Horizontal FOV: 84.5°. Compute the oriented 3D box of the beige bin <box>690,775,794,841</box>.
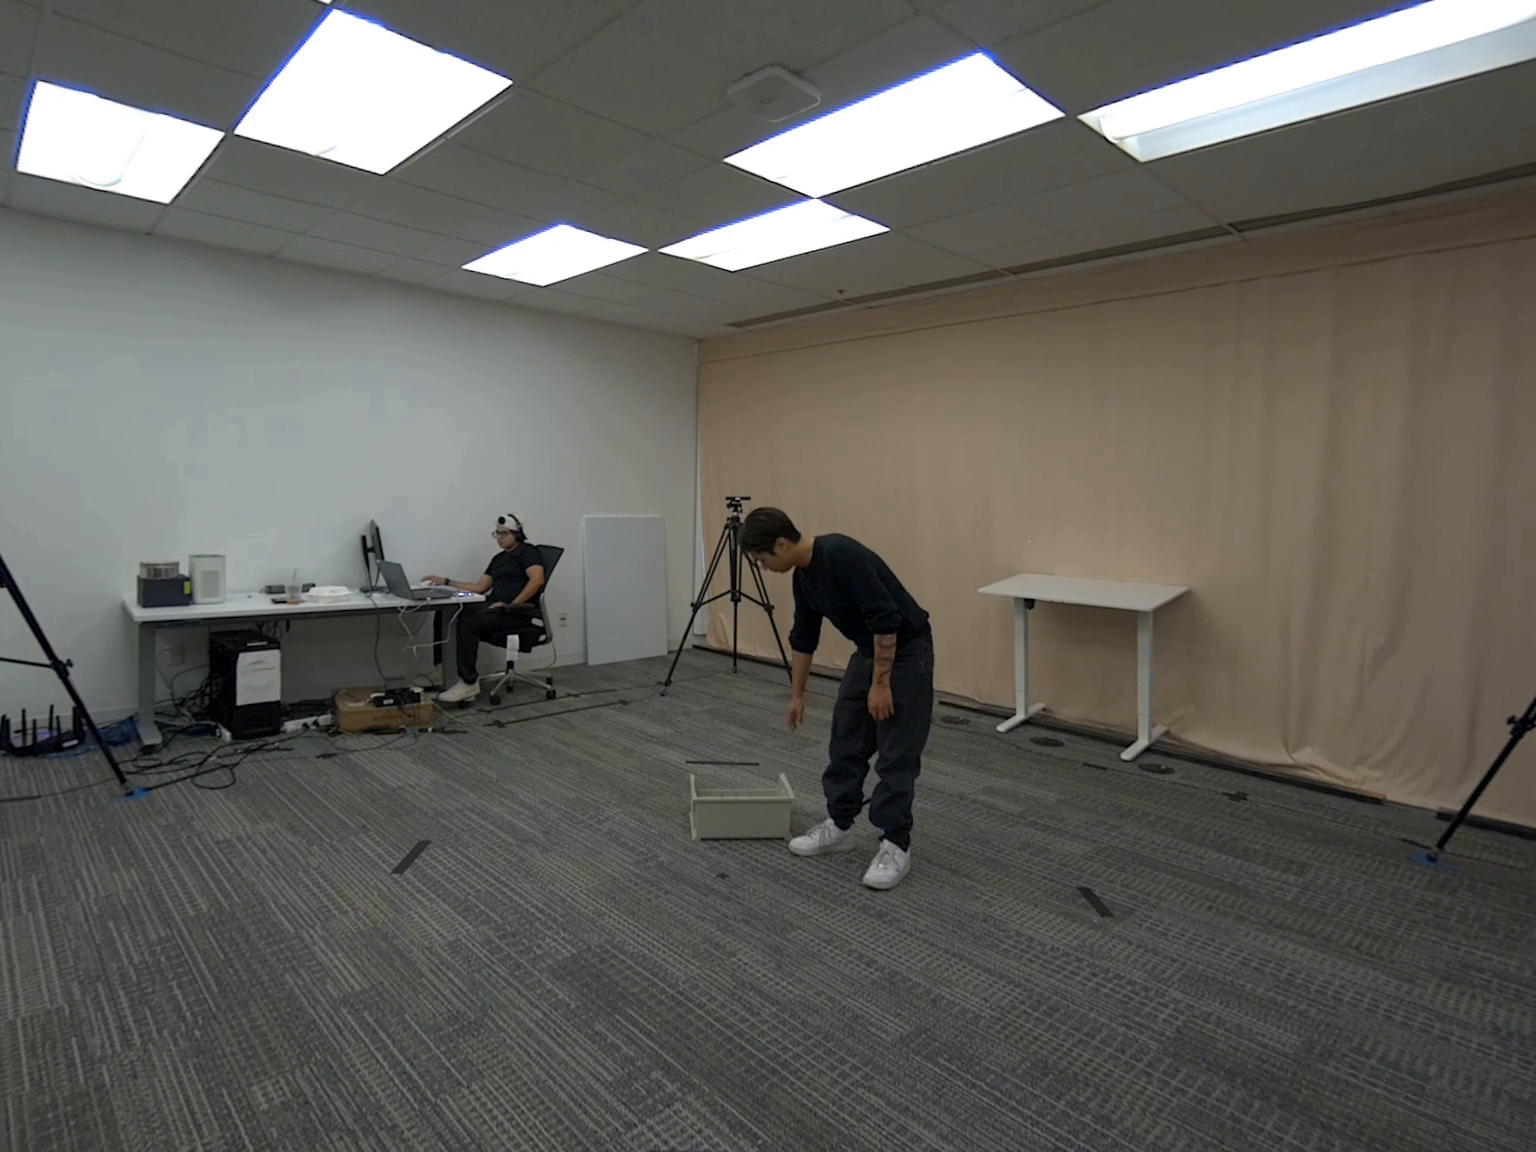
[{"bbox_3d":[-0.132,0.980,3.612,0.420,0.188,0.380,1,5,-6],"label":"beige bin"}]
